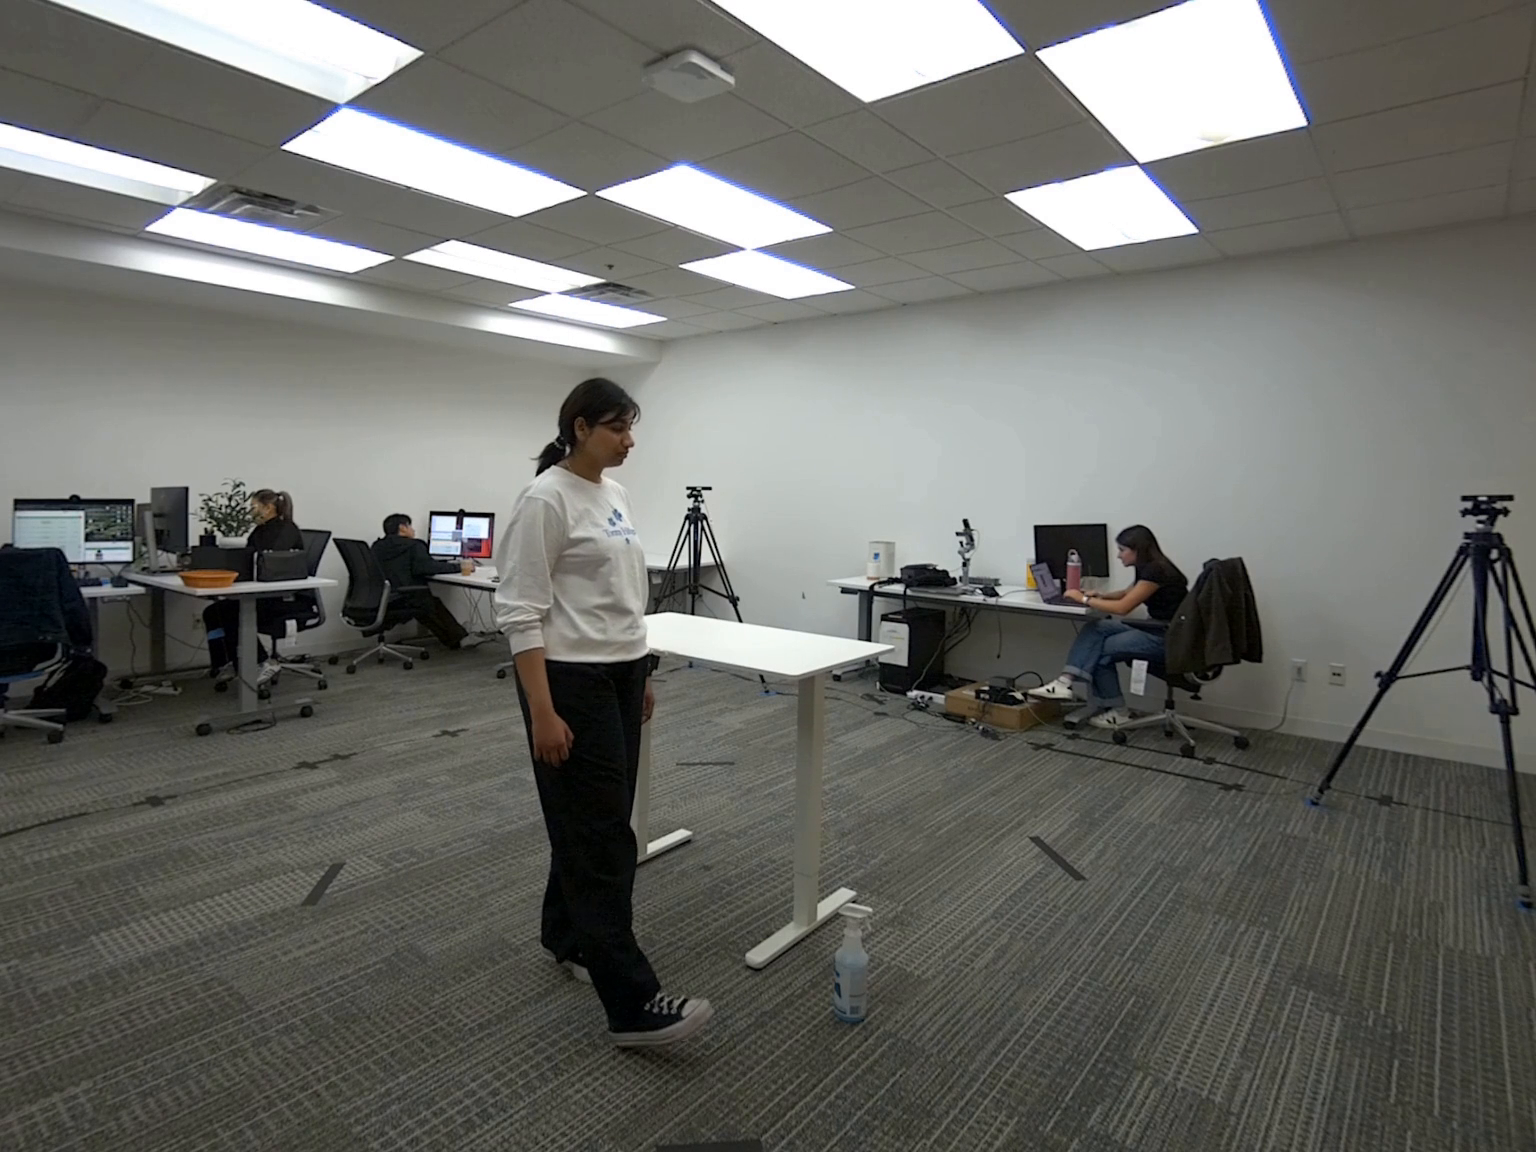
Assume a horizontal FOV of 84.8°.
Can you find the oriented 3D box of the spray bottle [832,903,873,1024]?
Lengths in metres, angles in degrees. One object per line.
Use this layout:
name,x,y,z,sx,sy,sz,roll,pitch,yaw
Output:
spray bottle,0.217,1.022,2.246,0.084,0.296,0.093,-1,6,-38
